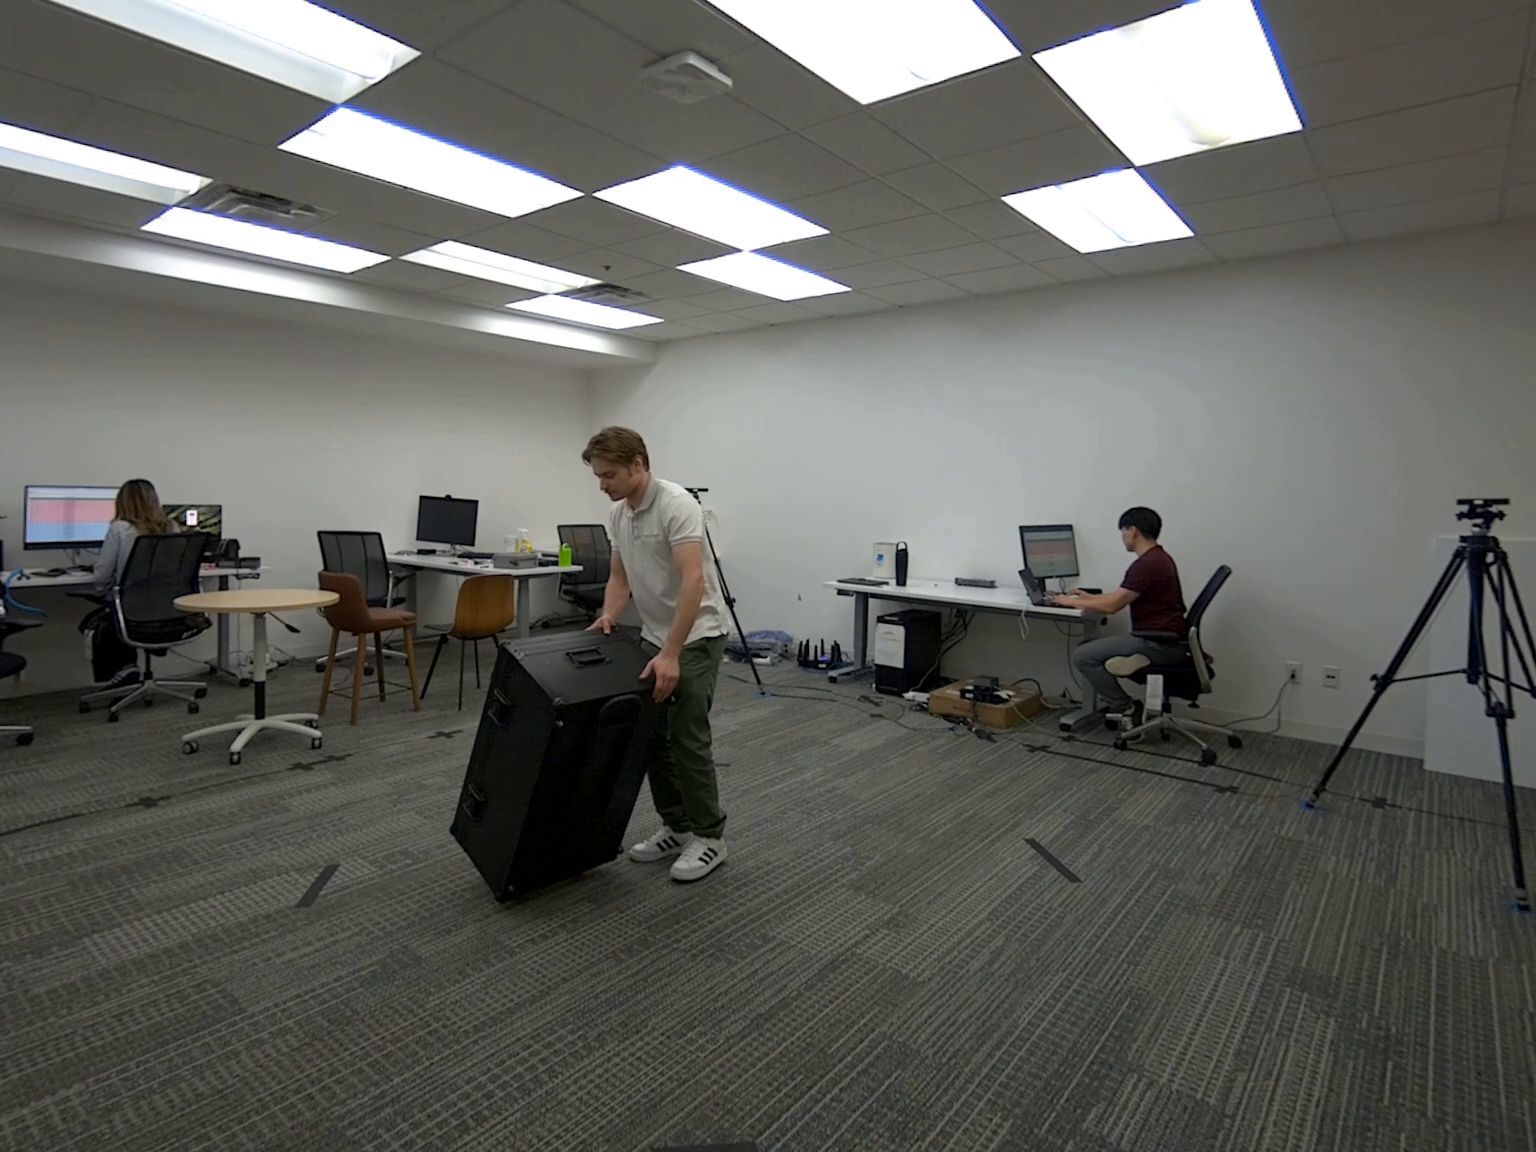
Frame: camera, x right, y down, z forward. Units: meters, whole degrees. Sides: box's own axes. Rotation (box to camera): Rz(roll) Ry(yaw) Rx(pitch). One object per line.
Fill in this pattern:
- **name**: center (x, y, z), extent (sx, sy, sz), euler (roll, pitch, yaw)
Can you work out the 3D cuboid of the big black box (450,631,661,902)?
- **big black box**: center (-0.714, 0.649, 2.888), extent (0.412, 0.852, 0.506), euler (35, 24, 35)
